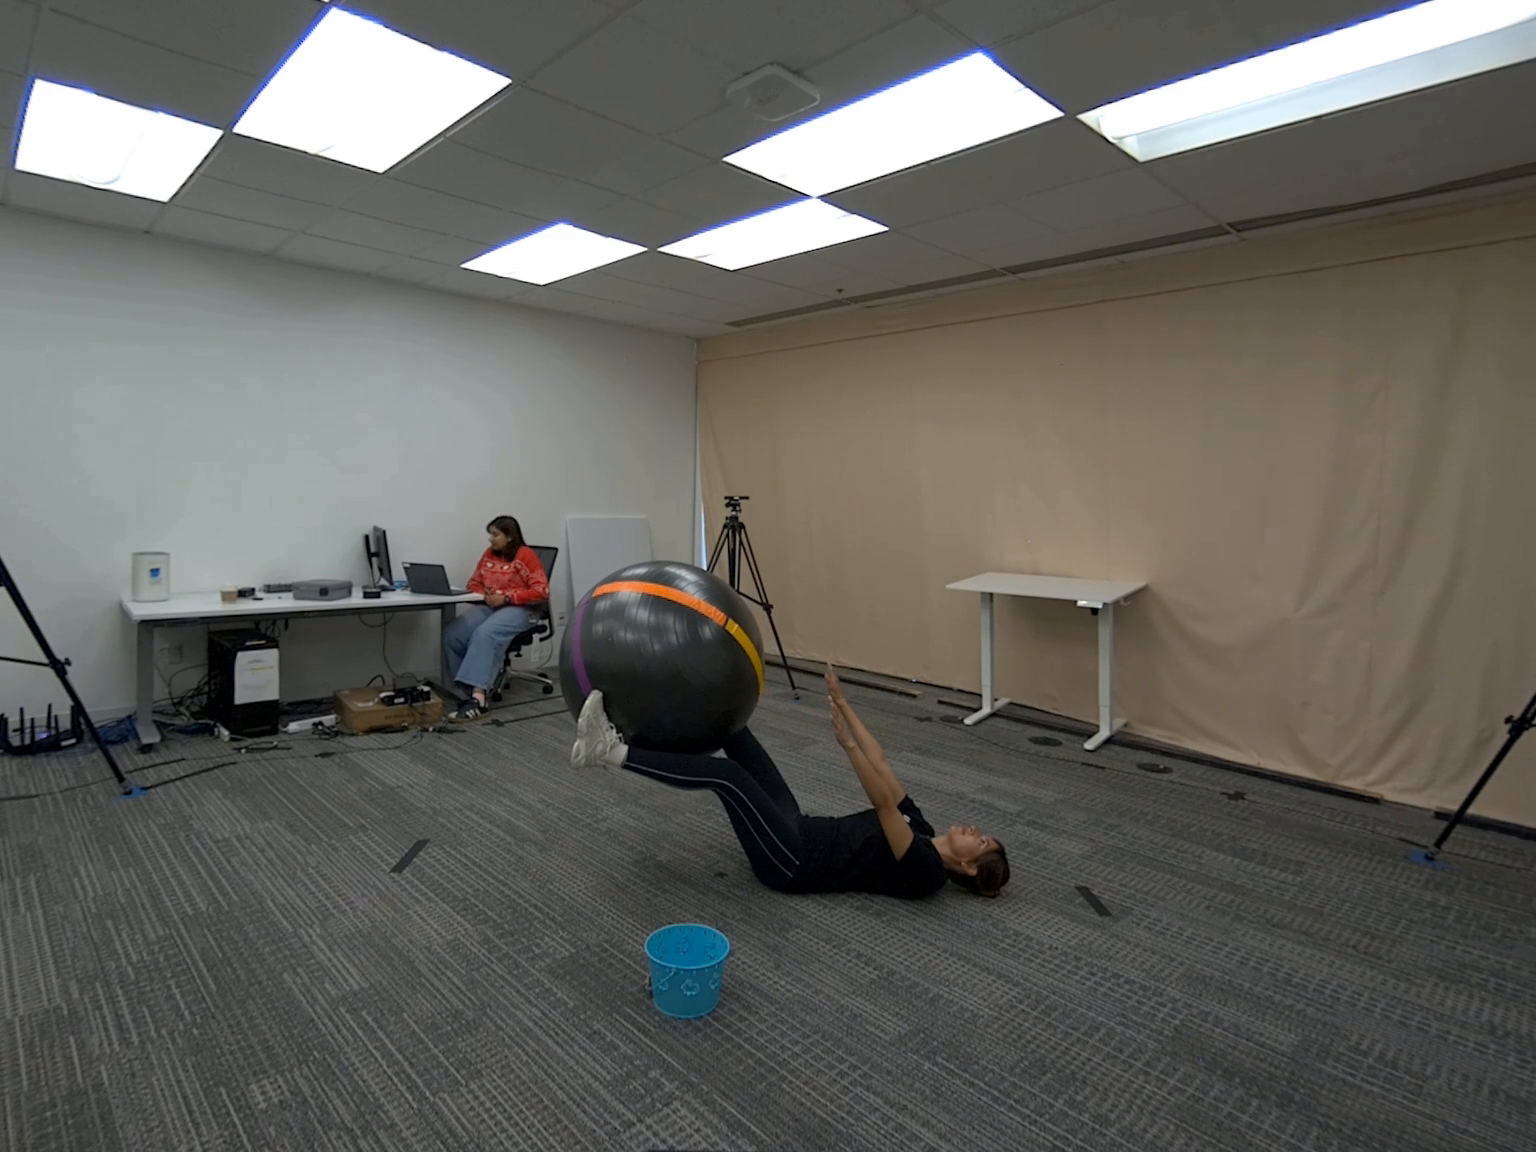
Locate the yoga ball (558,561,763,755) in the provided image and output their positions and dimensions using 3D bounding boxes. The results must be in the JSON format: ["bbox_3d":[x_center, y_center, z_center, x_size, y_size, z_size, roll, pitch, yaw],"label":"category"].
[{"bbox_3d":[-0.389,0.321,3.115,0.757,0.756,0.761,1,4,-1],"label":"yoga ball"}]
